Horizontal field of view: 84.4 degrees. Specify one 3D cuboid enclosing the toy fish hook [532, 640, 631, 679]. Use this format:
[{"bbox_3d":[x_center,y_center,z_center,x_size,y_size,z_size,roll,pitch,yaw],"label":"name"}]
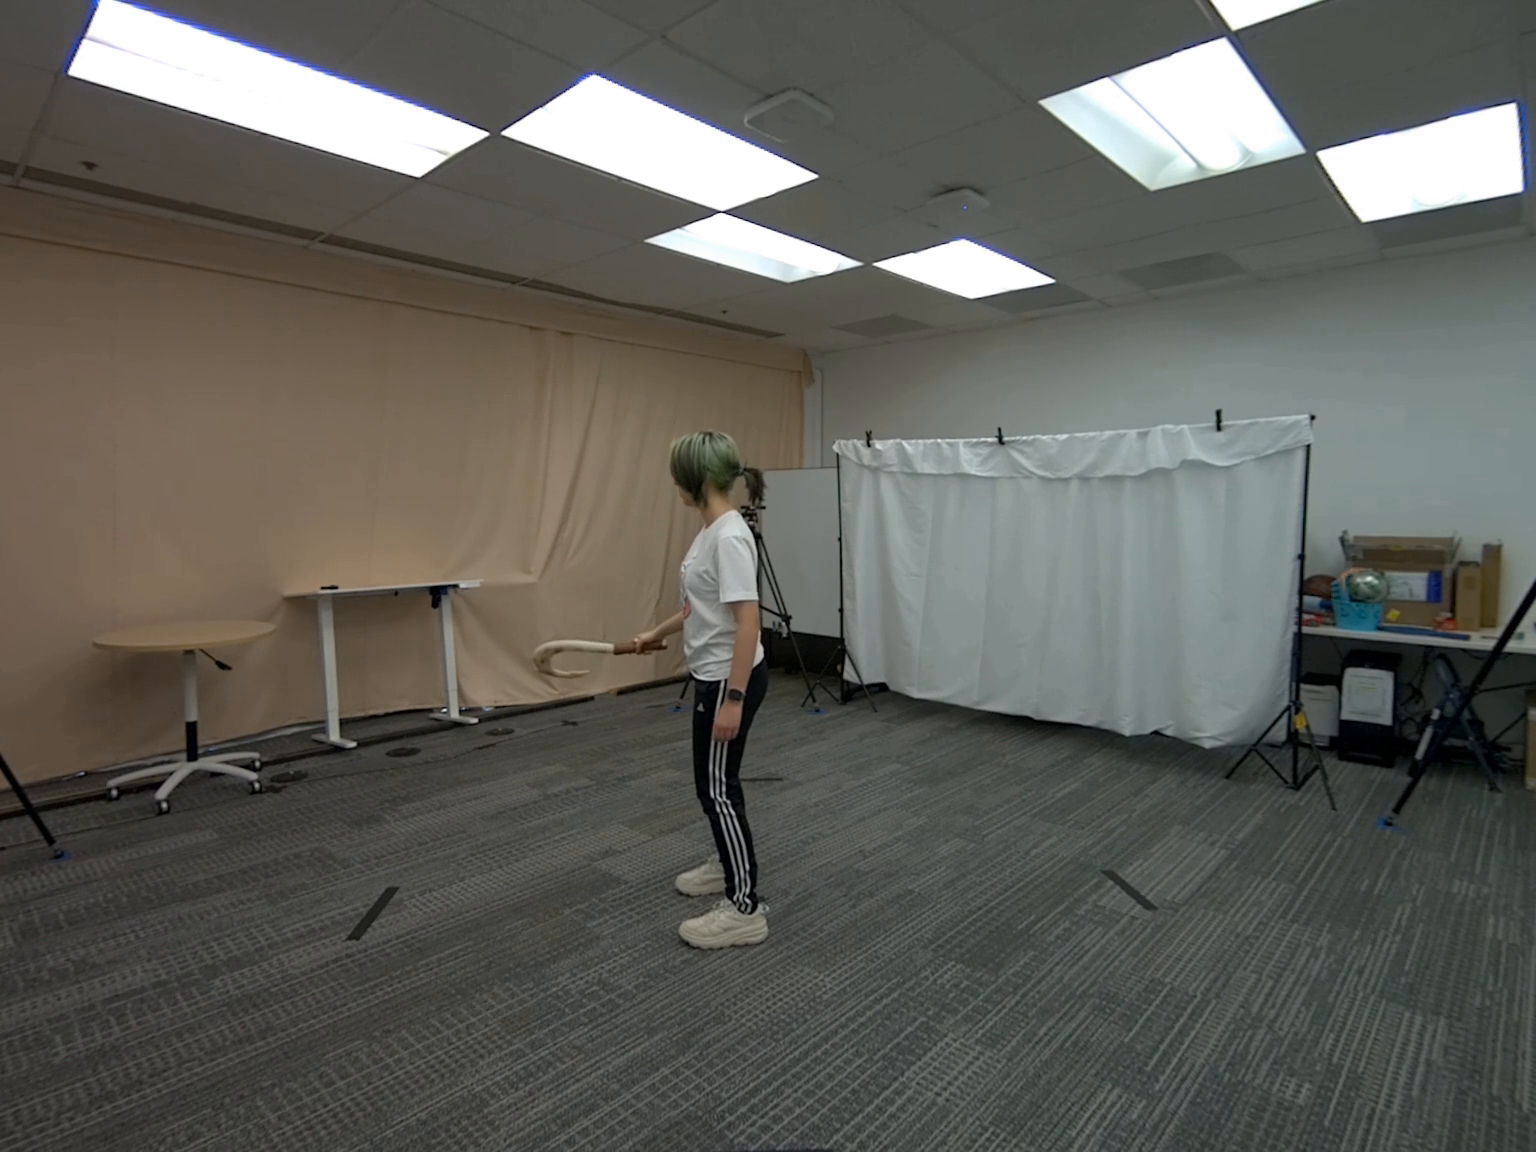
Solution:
[{"bbox_3d":[-0.632,0.287,3.153,0.505,0.049,0.221,-1,-39,-3],"label":"toy fish hook"}]
